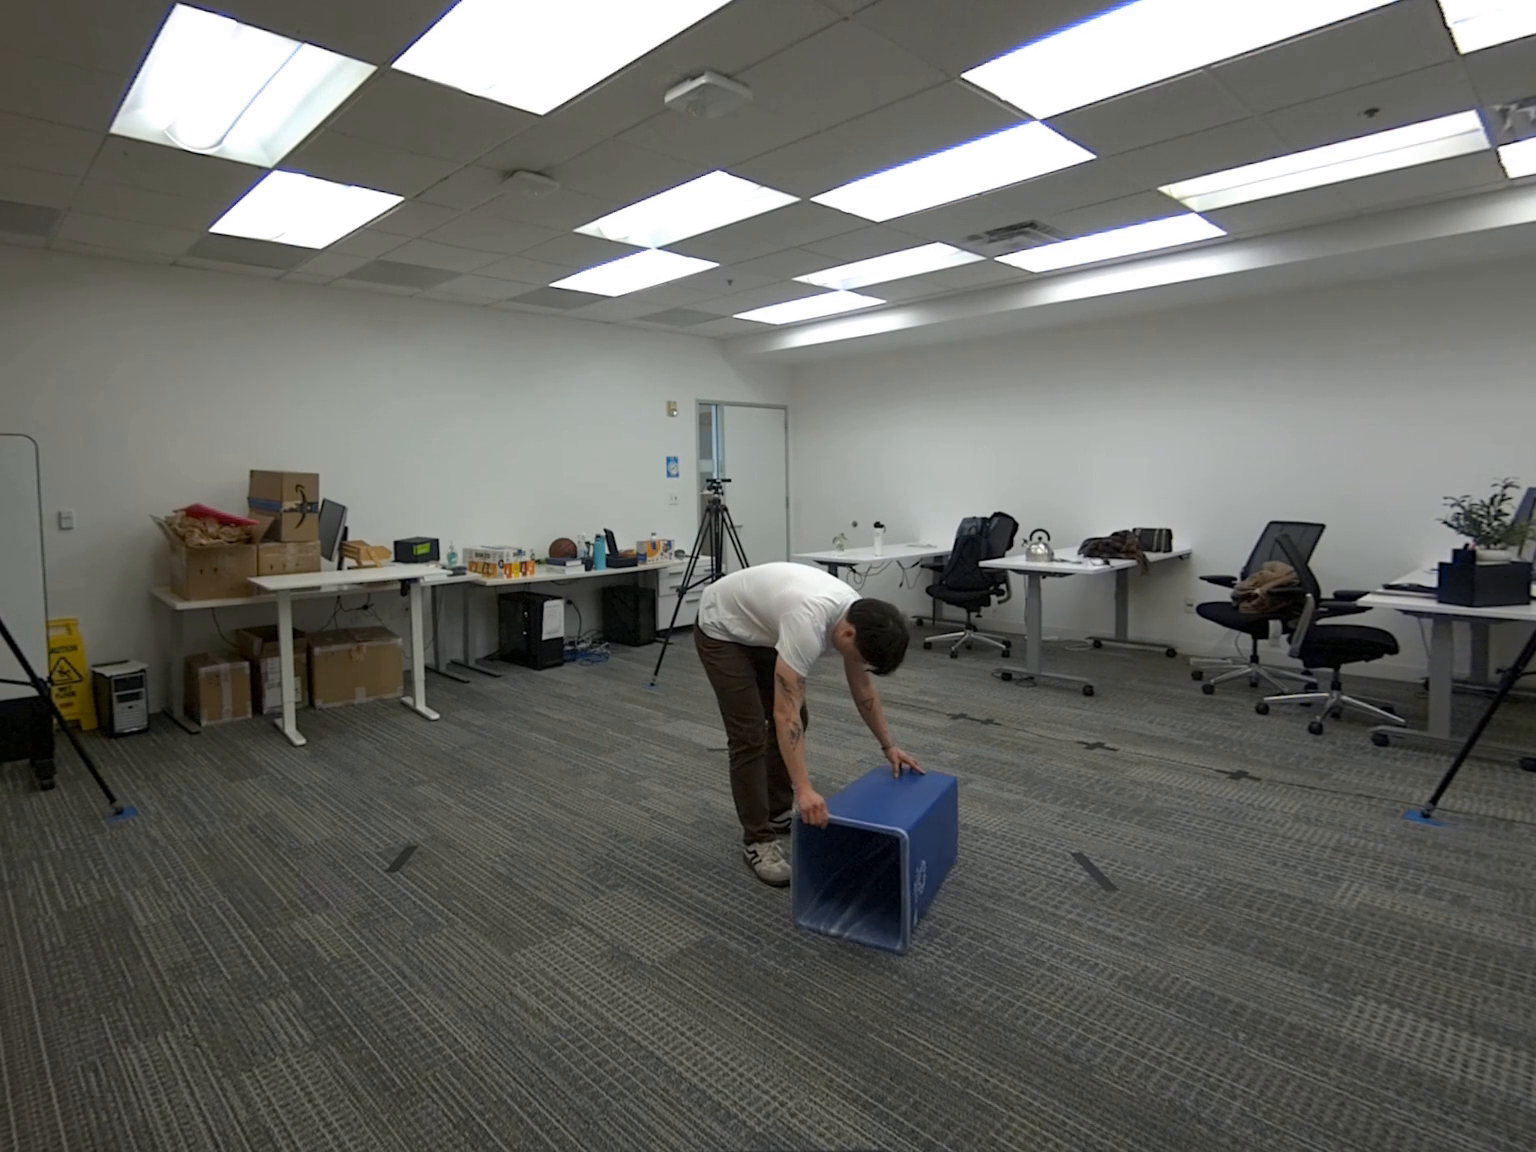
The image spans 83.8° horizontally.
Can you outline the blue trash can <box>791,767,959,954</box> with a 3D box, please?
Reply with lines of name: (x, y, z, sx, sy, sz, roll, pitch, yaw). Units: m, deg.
blue trash can: (0.401, 0.891, 2.873, 0.383, 0.377, 0.697, -1, 3, 28)
